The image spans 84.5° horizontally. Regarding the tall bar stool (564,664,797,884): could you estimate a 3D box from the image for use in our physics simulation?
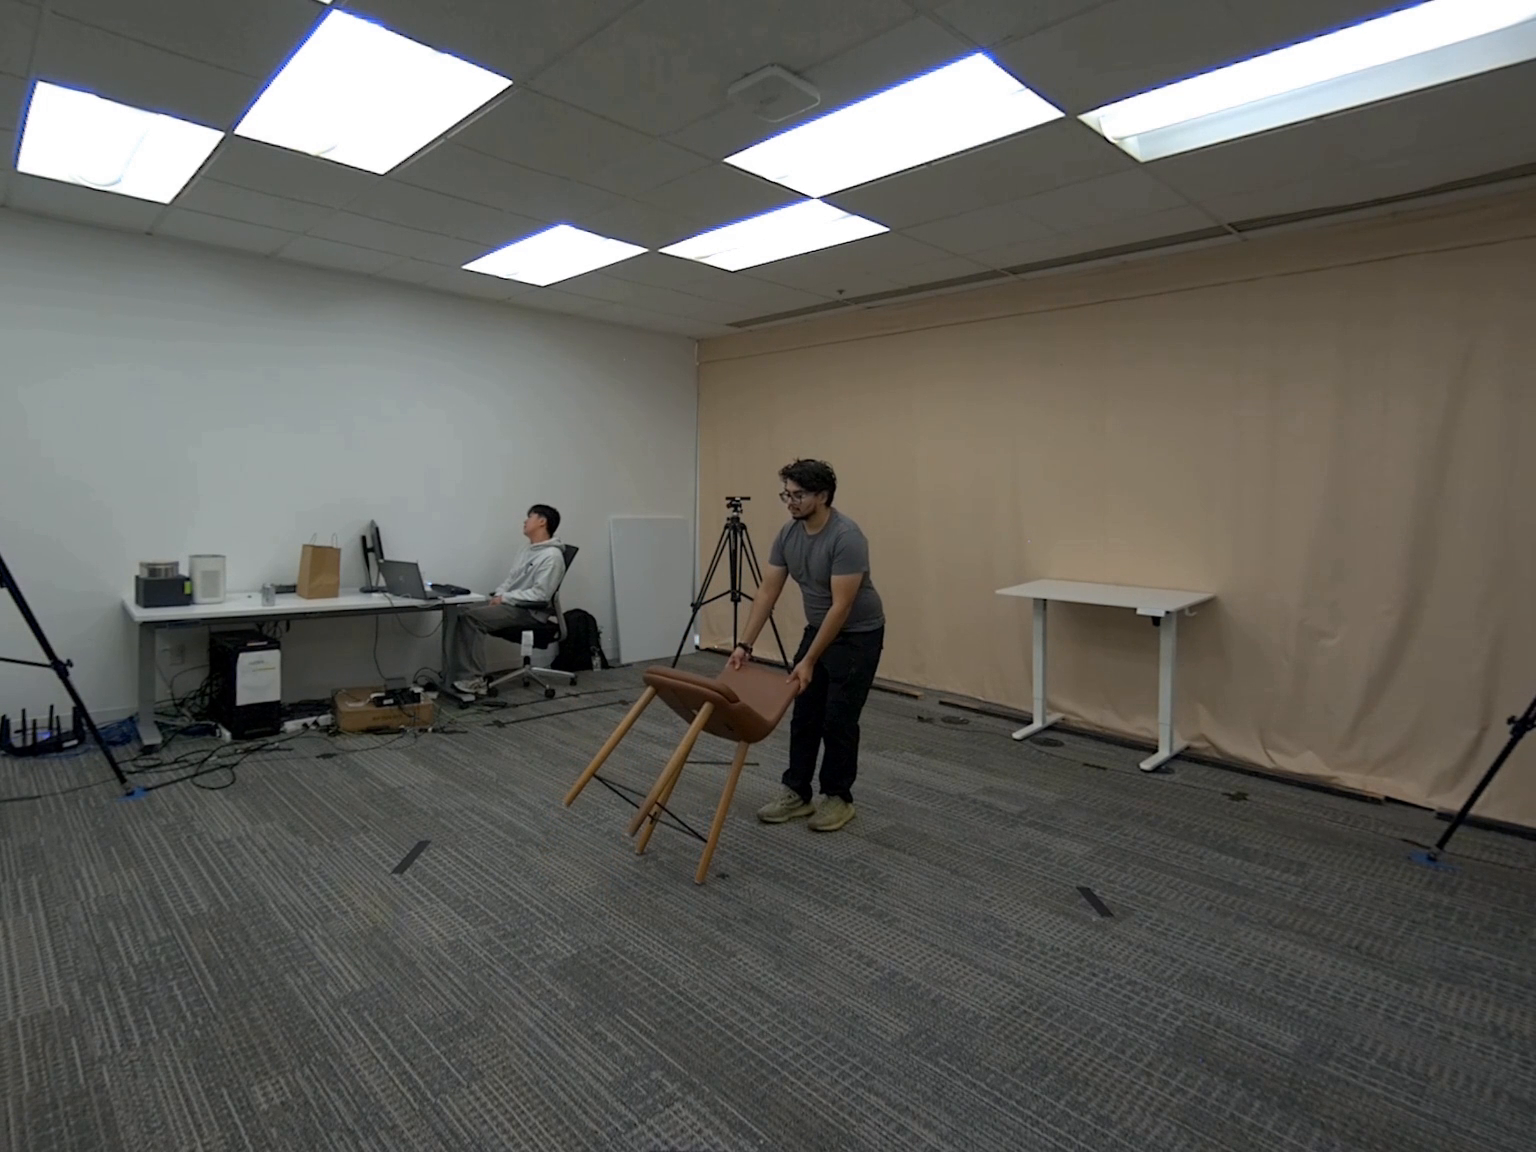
[{"bbox_3d":[-0.295,0.622,3.209,0.468,0.894,0.453,4,-36,44],"label":"tall bar stool"}]
